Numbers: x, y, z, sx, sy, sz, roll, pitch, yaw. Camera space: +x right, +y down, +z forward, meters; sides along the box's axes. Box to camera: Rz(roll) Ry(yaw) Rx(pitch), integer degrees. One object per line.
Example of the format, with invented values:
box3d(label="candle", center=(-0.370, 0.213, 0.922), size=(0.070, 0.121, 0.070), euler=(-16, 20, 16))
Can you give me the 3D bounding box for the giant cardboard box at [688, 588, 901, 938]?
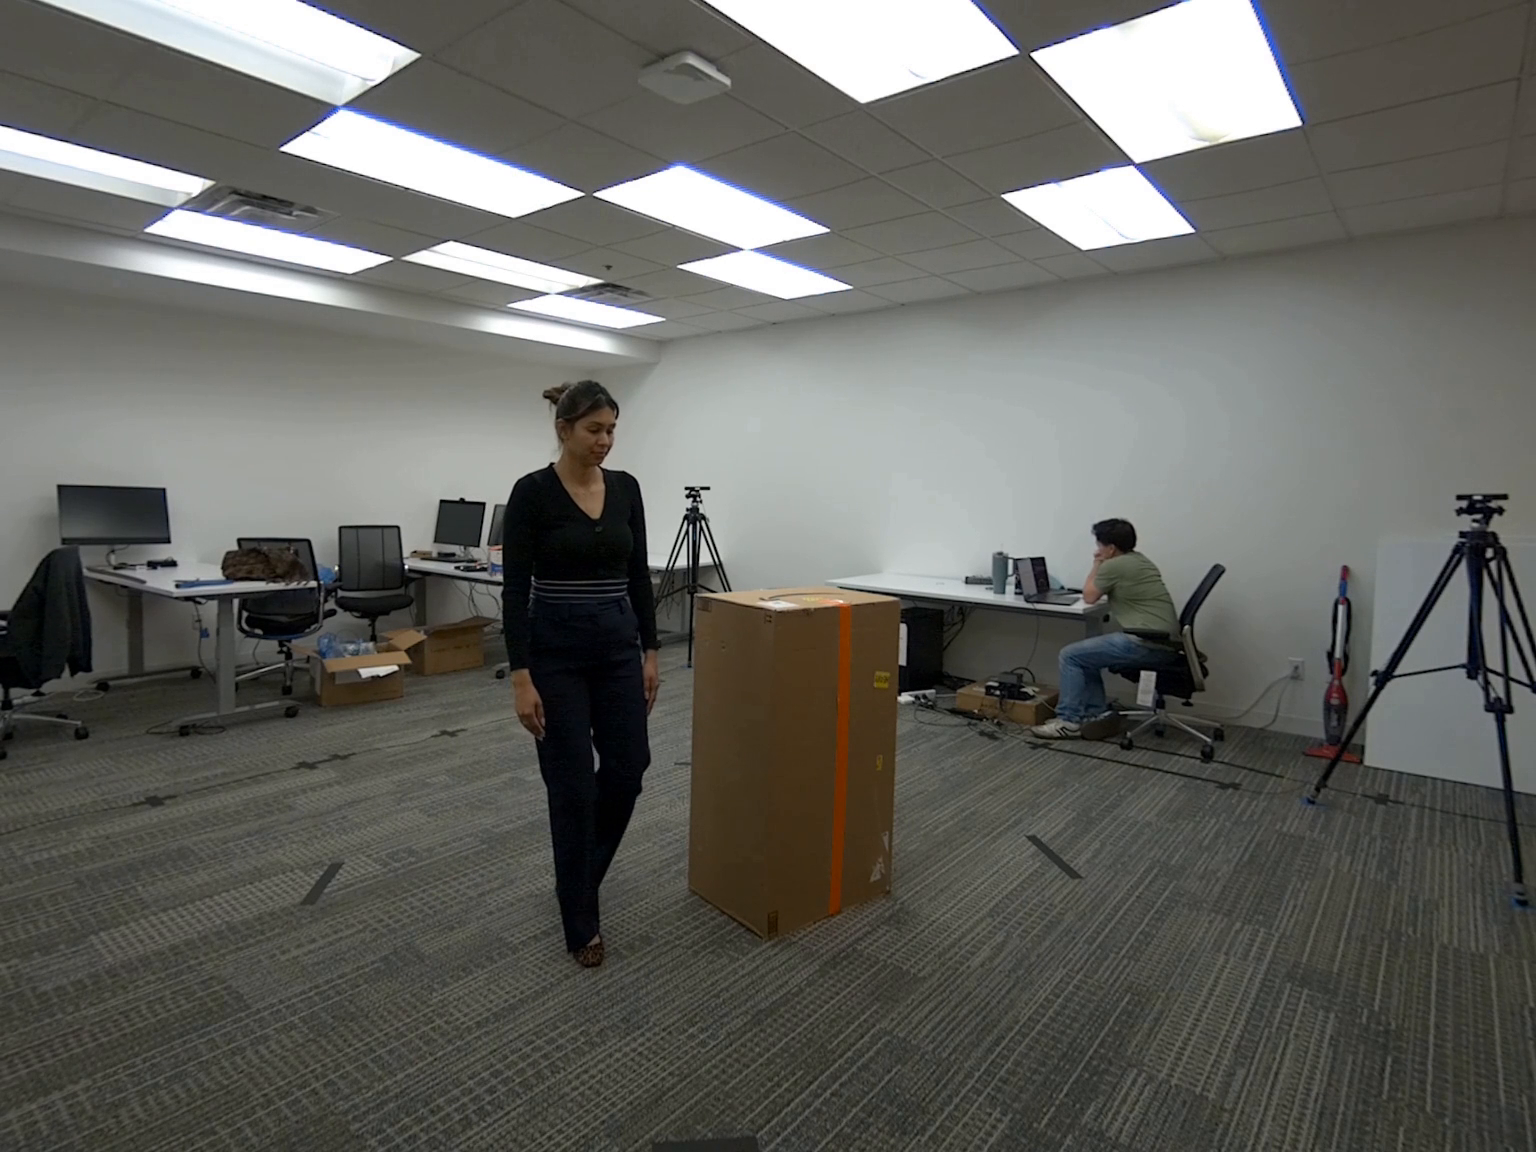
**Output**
box3d(label="giant cardboard box", center=(0.083, 0.579, 2.923), size=(0.560, 1.023, 0.440), euler=(-1, 4, -39))
